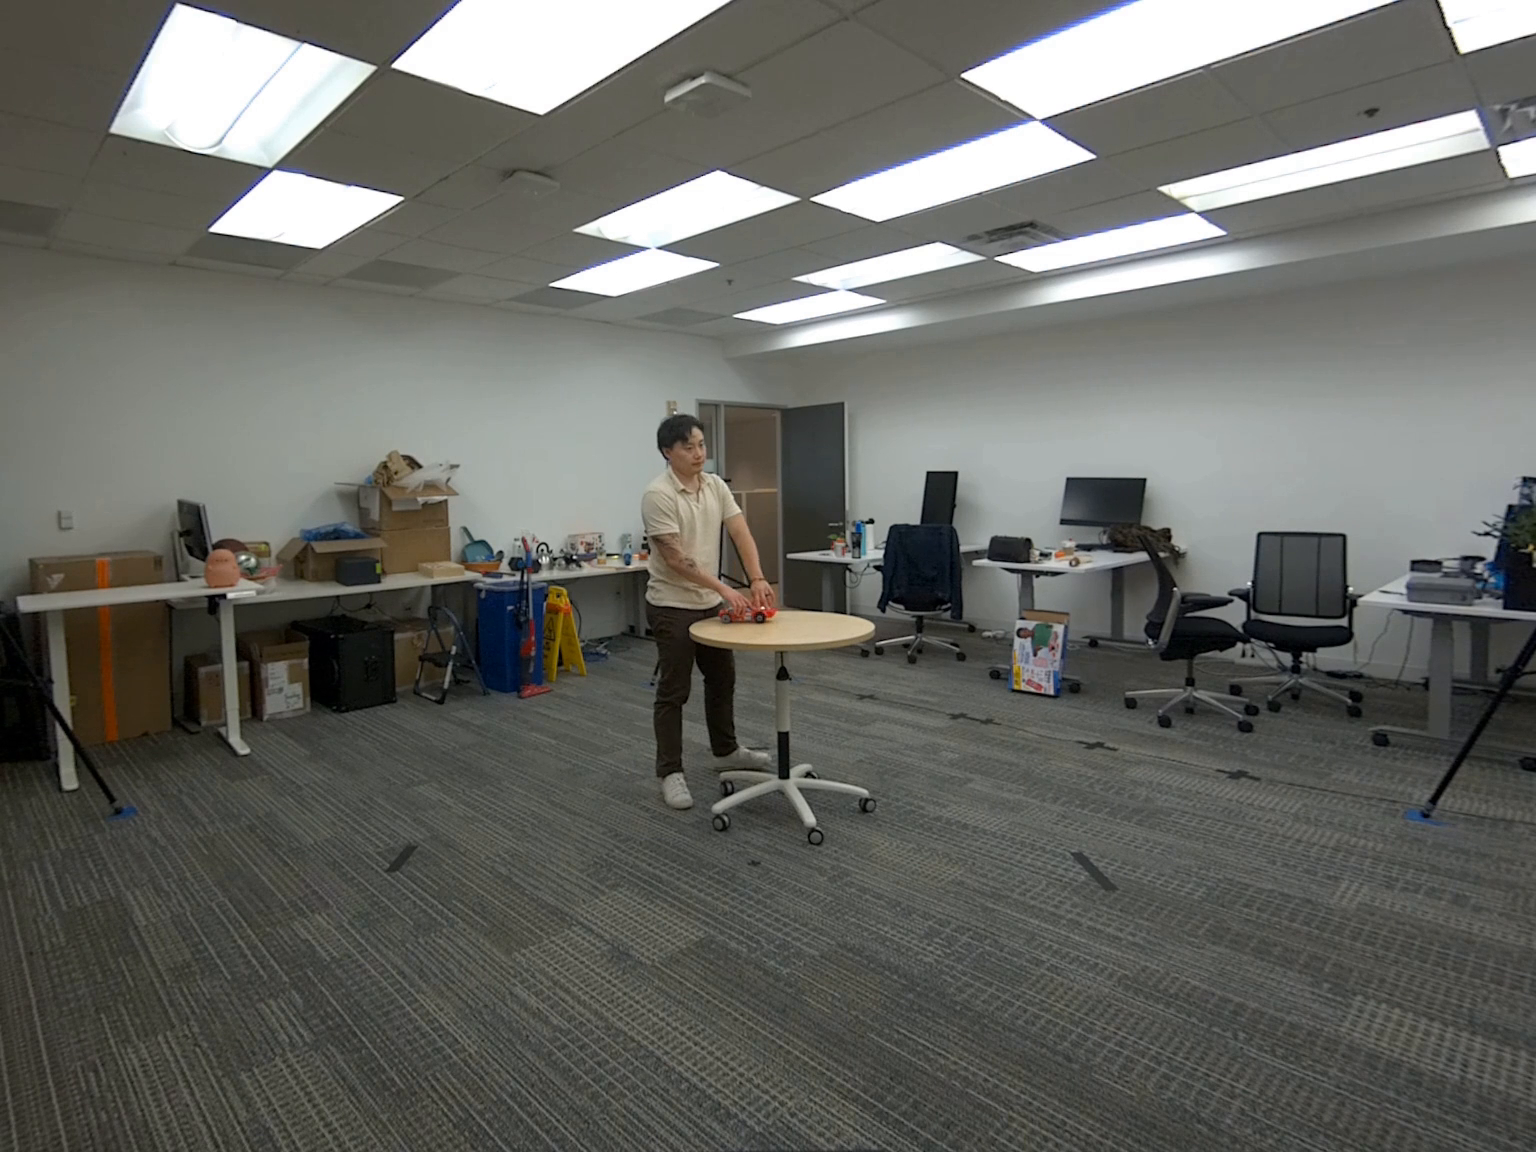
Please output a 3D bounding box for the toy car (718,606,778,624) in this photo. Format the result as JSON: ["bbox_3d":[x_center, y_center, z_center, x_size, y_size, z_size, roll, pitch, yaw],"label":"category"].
[{"bbox_3d":[-0.074,0.168,3.672,0.256,0.083,0.129,-13,2,10],"label":"toy car"}]
